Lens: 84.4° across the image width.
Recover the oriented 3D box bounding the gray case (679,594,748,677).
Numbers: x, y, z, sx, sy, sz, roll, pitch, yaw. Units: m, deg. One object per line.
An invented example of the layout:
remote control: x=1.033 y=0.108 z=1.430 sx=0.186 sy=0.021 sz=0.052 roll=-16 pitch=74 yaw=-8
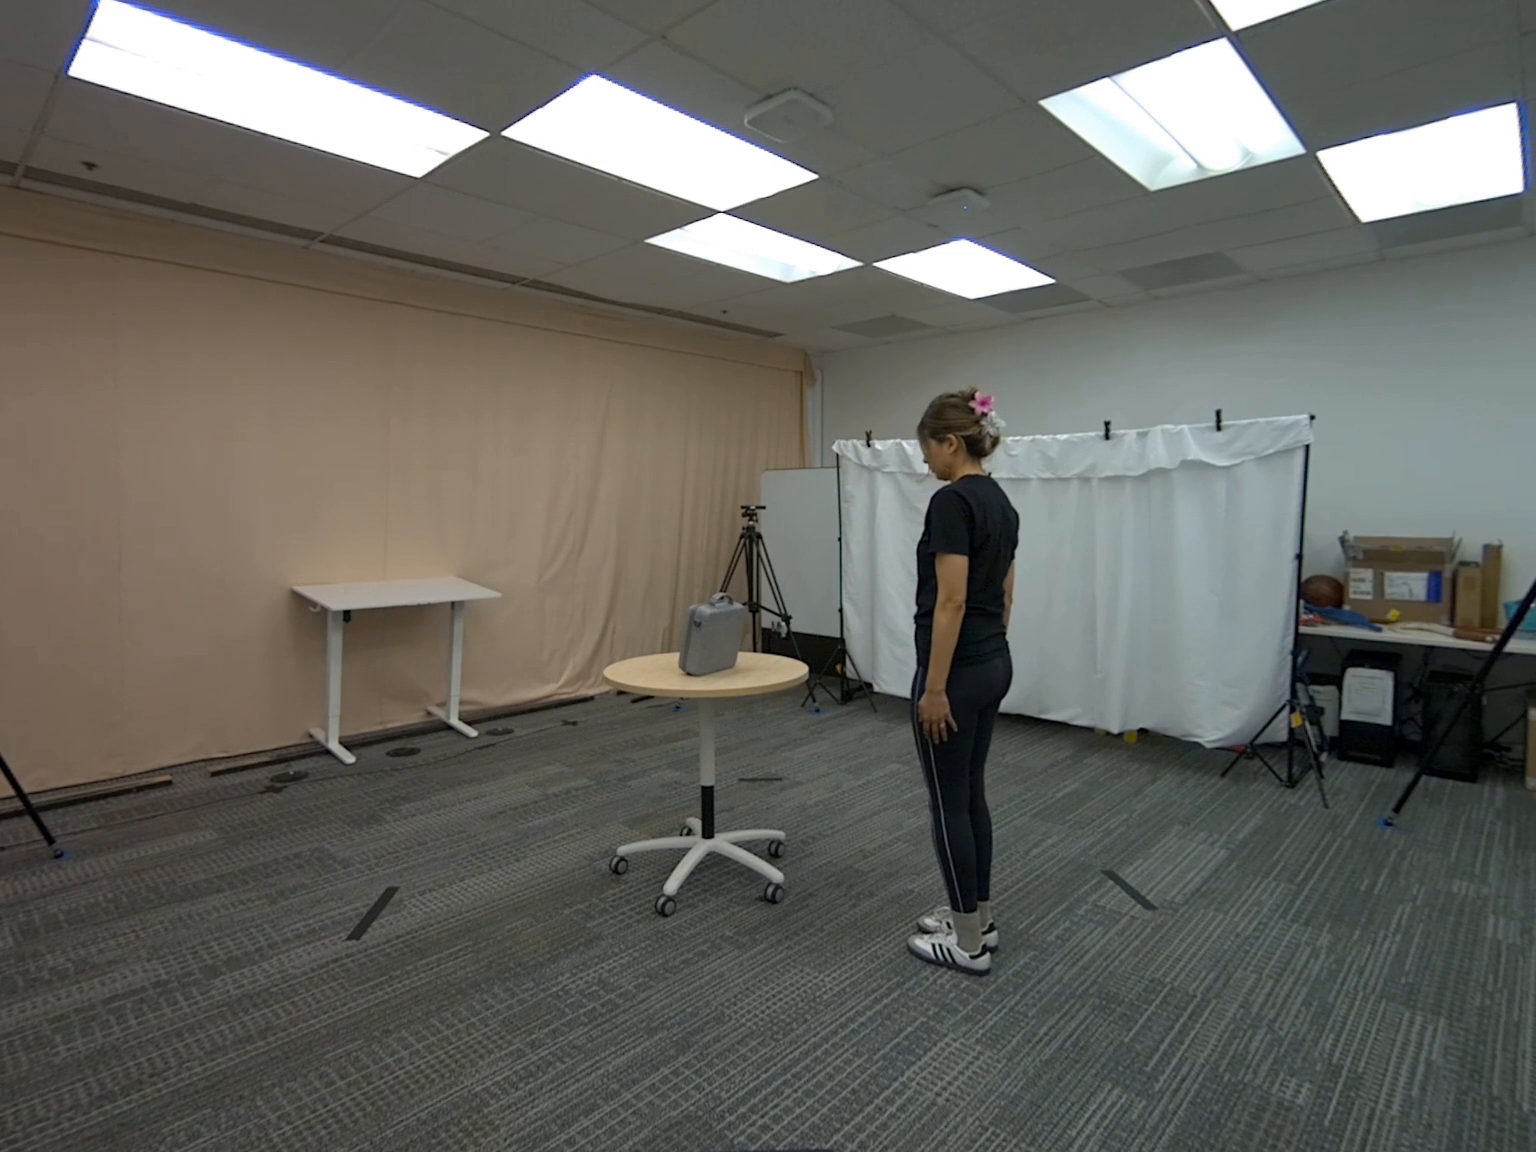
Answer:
gray case: x=-0.200 y=0.219 z=3.088 sx=0.108 sy=0.259 sz=0.250 roll=16 pitch=13 yaw=31
